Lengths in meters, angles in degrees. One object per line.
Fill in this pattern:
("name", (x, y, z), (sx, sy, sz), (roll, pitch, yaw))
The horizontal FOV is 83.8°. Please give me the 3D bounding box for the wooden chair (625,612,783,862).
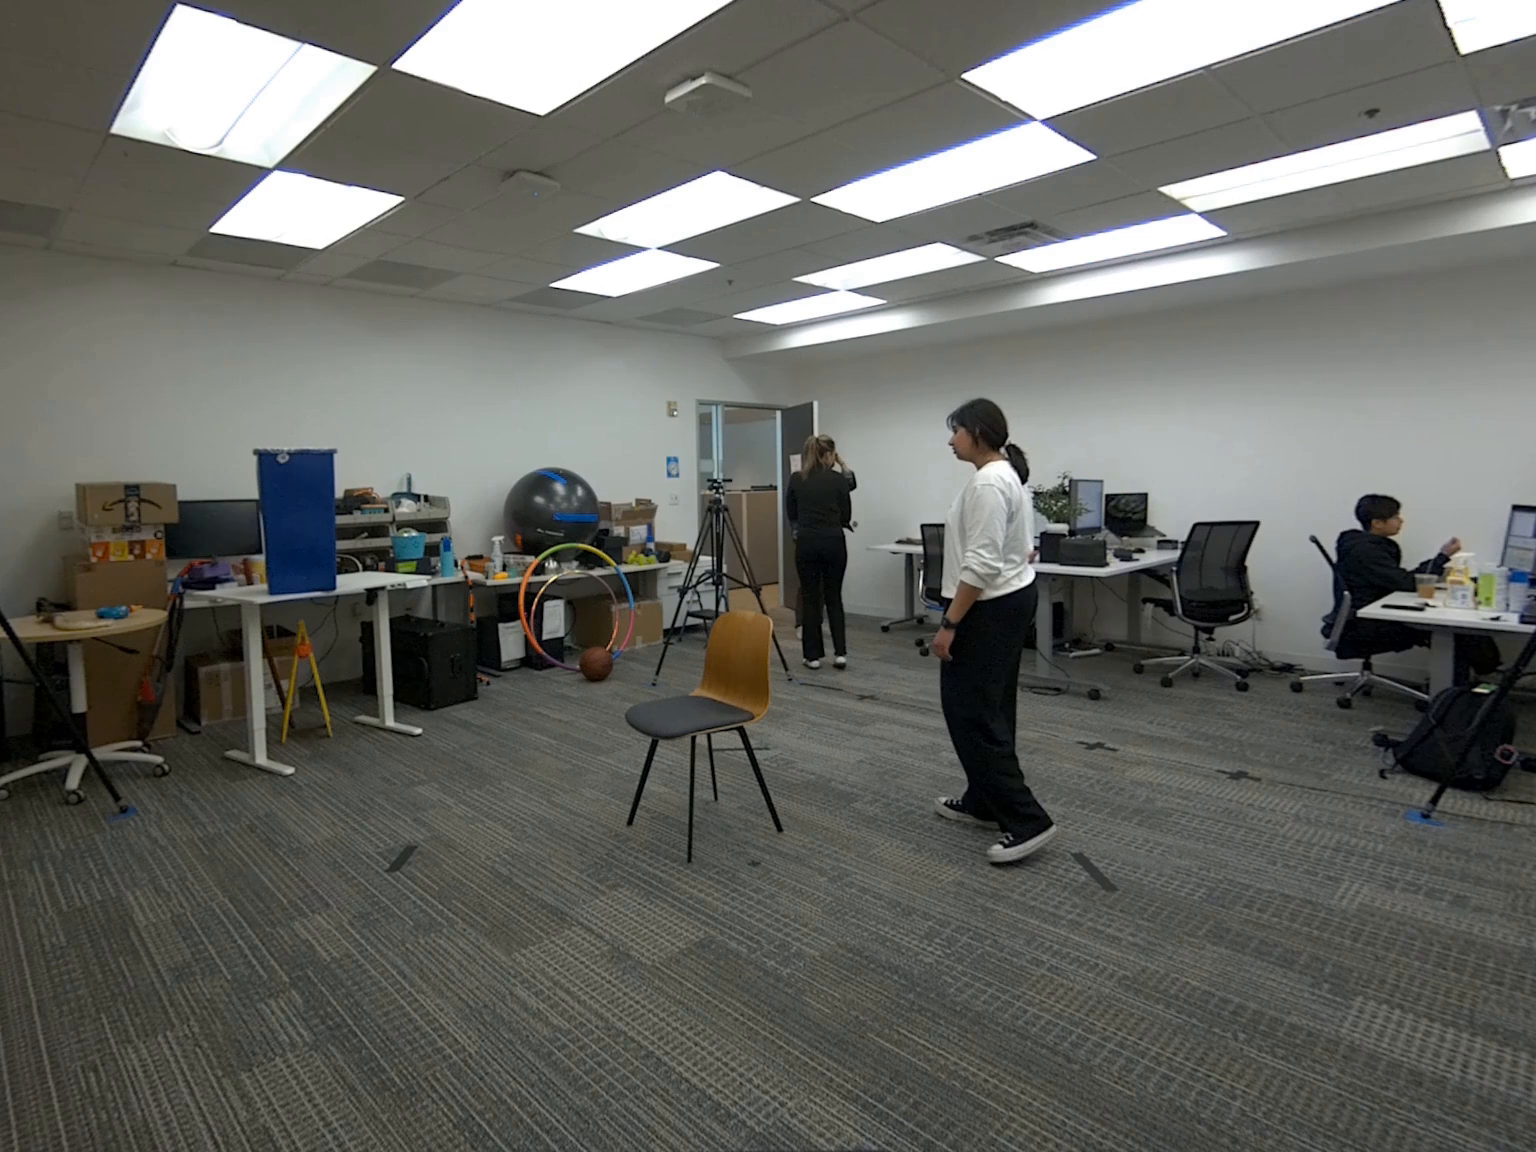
("wooden chair", (-0.266, 0.590, 3.393), (0.508, 0.876, 0.492), (2, 2, -39))
